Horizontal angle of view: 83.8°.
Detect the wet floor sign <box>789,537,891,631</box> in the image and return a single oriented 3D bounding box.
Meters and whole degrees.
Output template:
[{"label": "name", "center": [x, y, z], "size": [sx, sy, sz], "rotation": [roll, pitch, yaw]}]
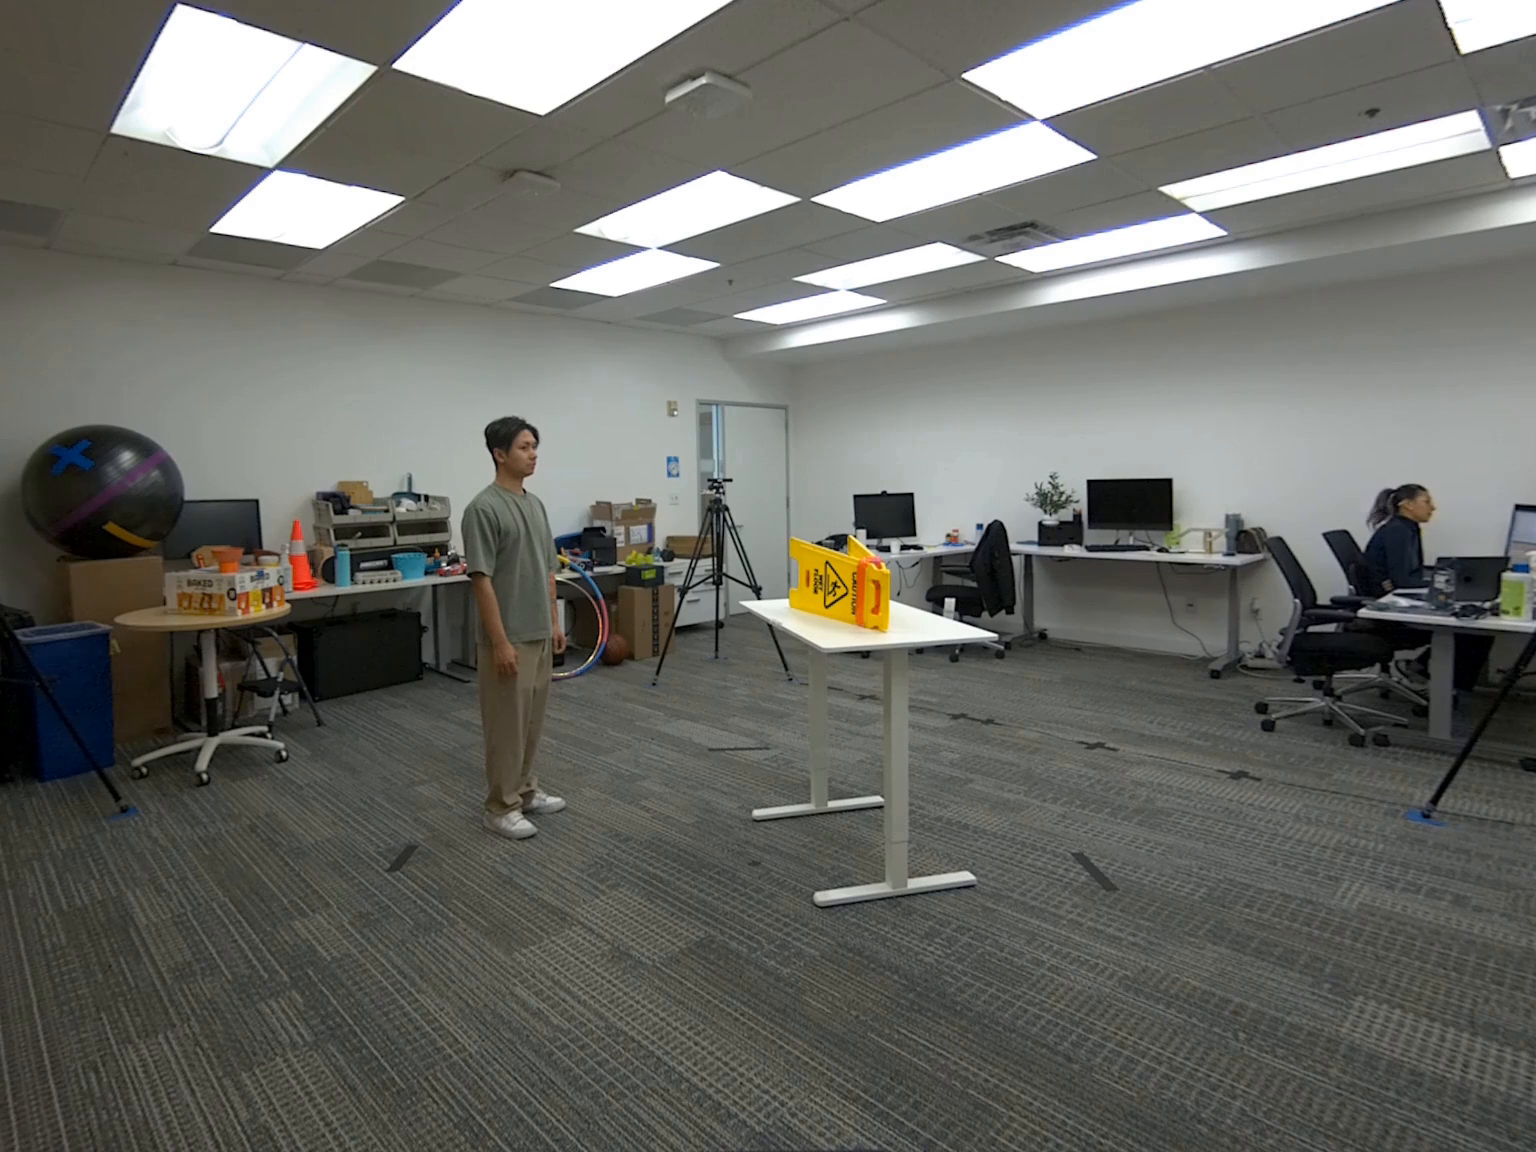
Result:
[{"label": "wet floor sign", "center": [0.310, 0.032, 3.114], "size": [0.286, 0.280, 0.659], "rotation": [-3, 10, -14]}]
